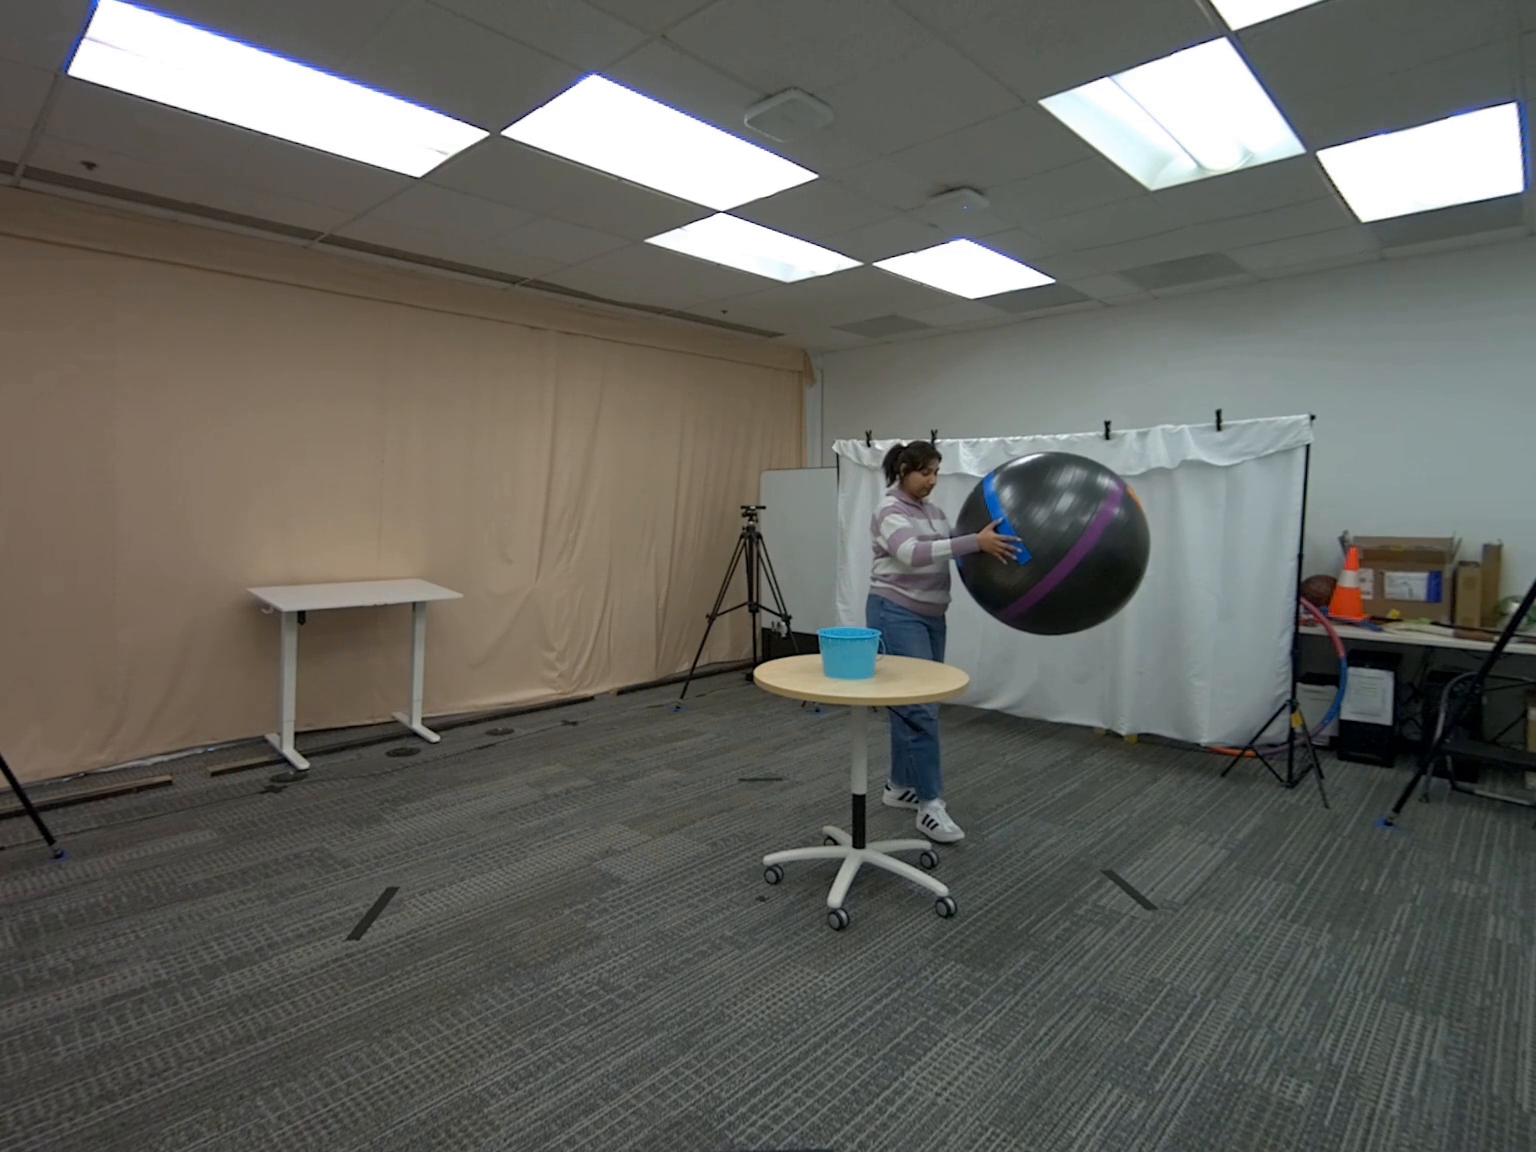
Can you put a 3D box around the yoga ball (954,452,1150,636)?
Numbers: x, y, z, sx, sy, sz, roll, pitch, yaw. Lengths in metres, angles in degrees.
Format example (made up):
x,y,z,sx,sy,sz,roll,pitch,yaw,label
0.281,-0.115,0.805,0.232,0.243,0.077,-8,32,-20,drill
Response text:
x,y,z,sx,sy,sz,roll,pitch,yaw,label
1.183,-0.128,3.514,0.757,0.756,0.760,0,4,-2,yoga ball
